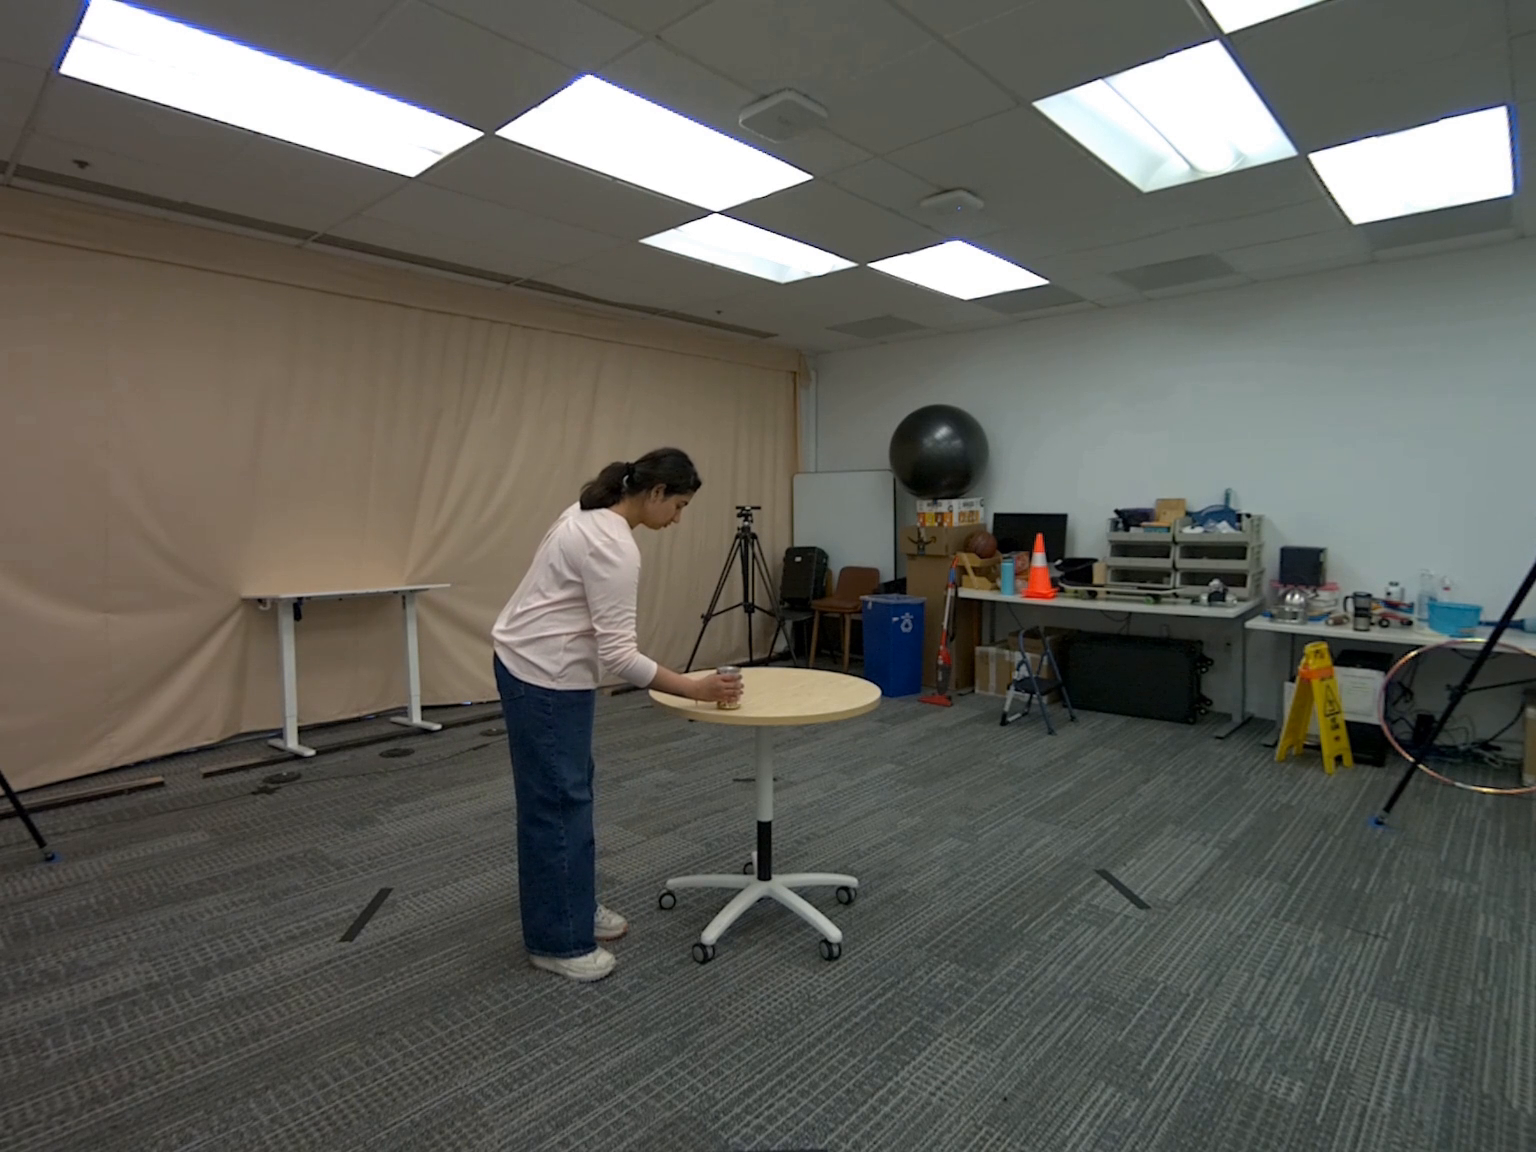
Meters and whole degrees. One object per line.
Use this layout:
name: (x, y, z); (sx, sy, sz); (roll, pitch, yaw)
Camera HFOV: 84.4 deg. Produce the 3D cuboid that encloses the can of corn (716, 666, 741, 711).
can of corn: (-0.115, 0.340, 2.517); (0.074, 0.111, 0.074); (-1, 2, -2)
